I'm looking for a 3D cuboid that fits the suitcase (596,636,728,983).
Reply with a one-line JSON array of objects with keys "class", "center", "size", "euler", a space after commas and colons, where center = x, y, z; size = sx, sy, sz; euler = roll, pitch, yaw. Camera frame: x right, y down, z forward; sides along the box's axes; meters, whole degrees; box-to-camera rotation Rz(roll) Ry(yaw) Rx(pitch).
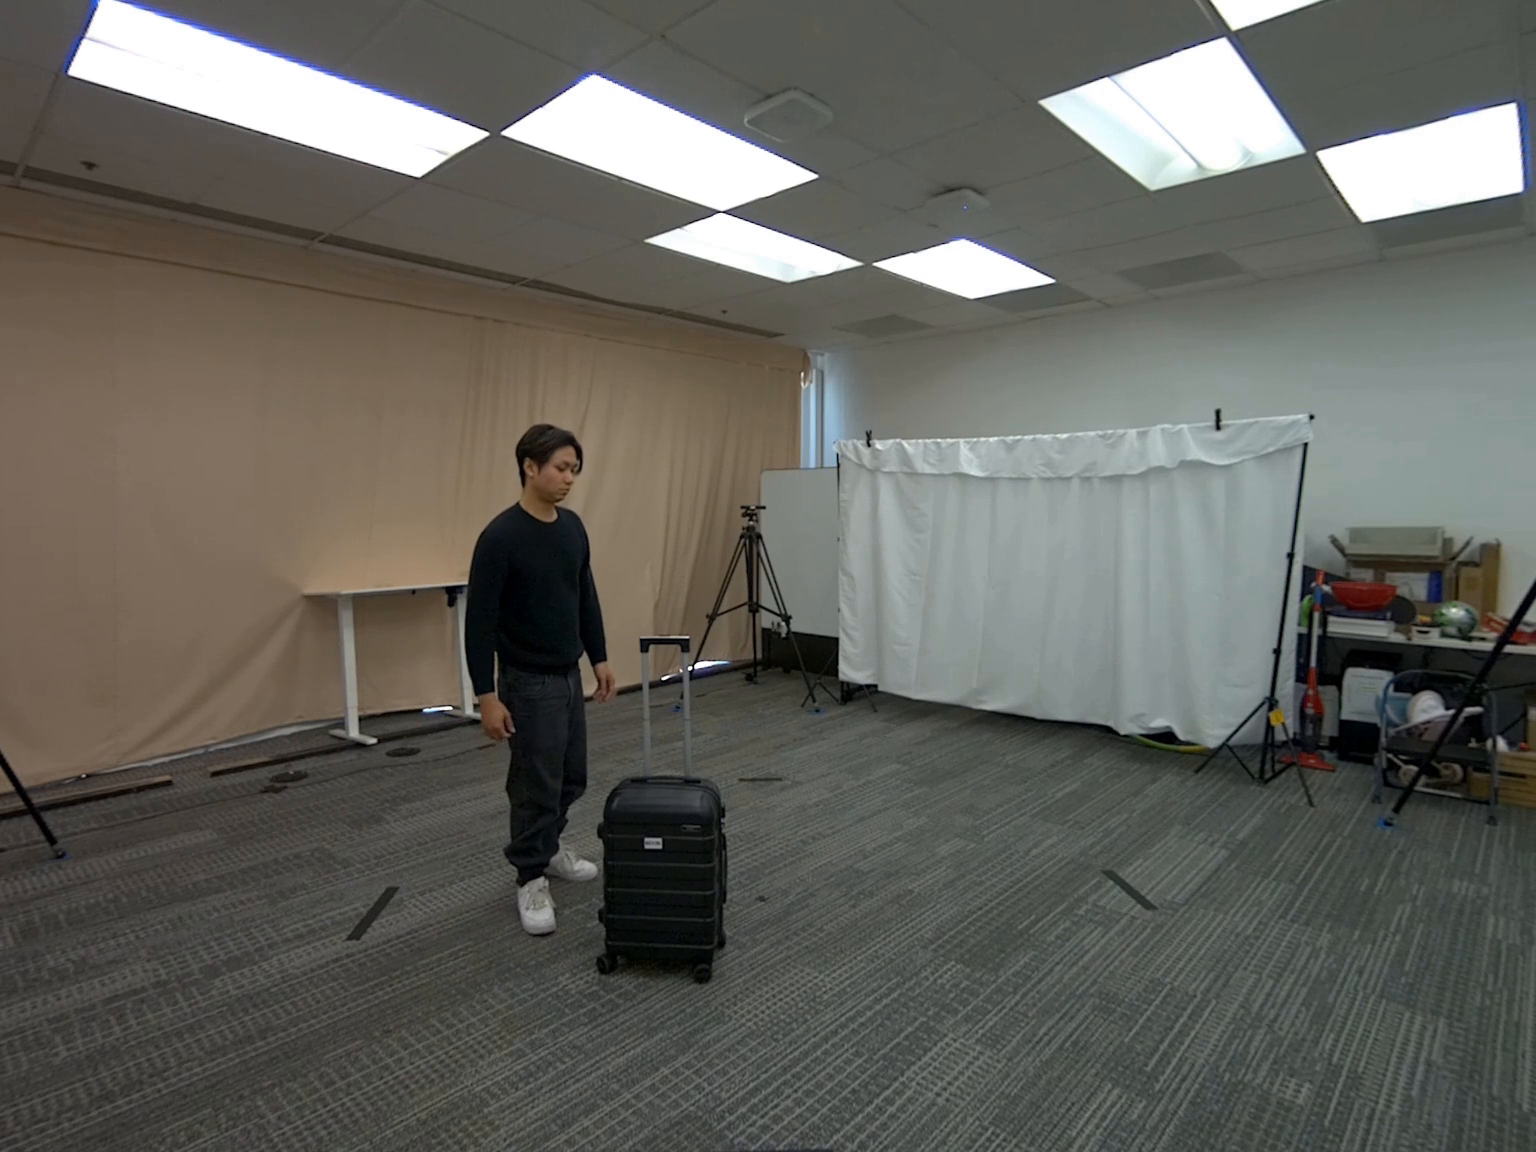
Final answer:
[{"class": "suitcase", "center": [-0.318, 0.704, 2.564], "size": [0.386, 0.976, 0.256], "euler": [-1, 4, 5]}]
